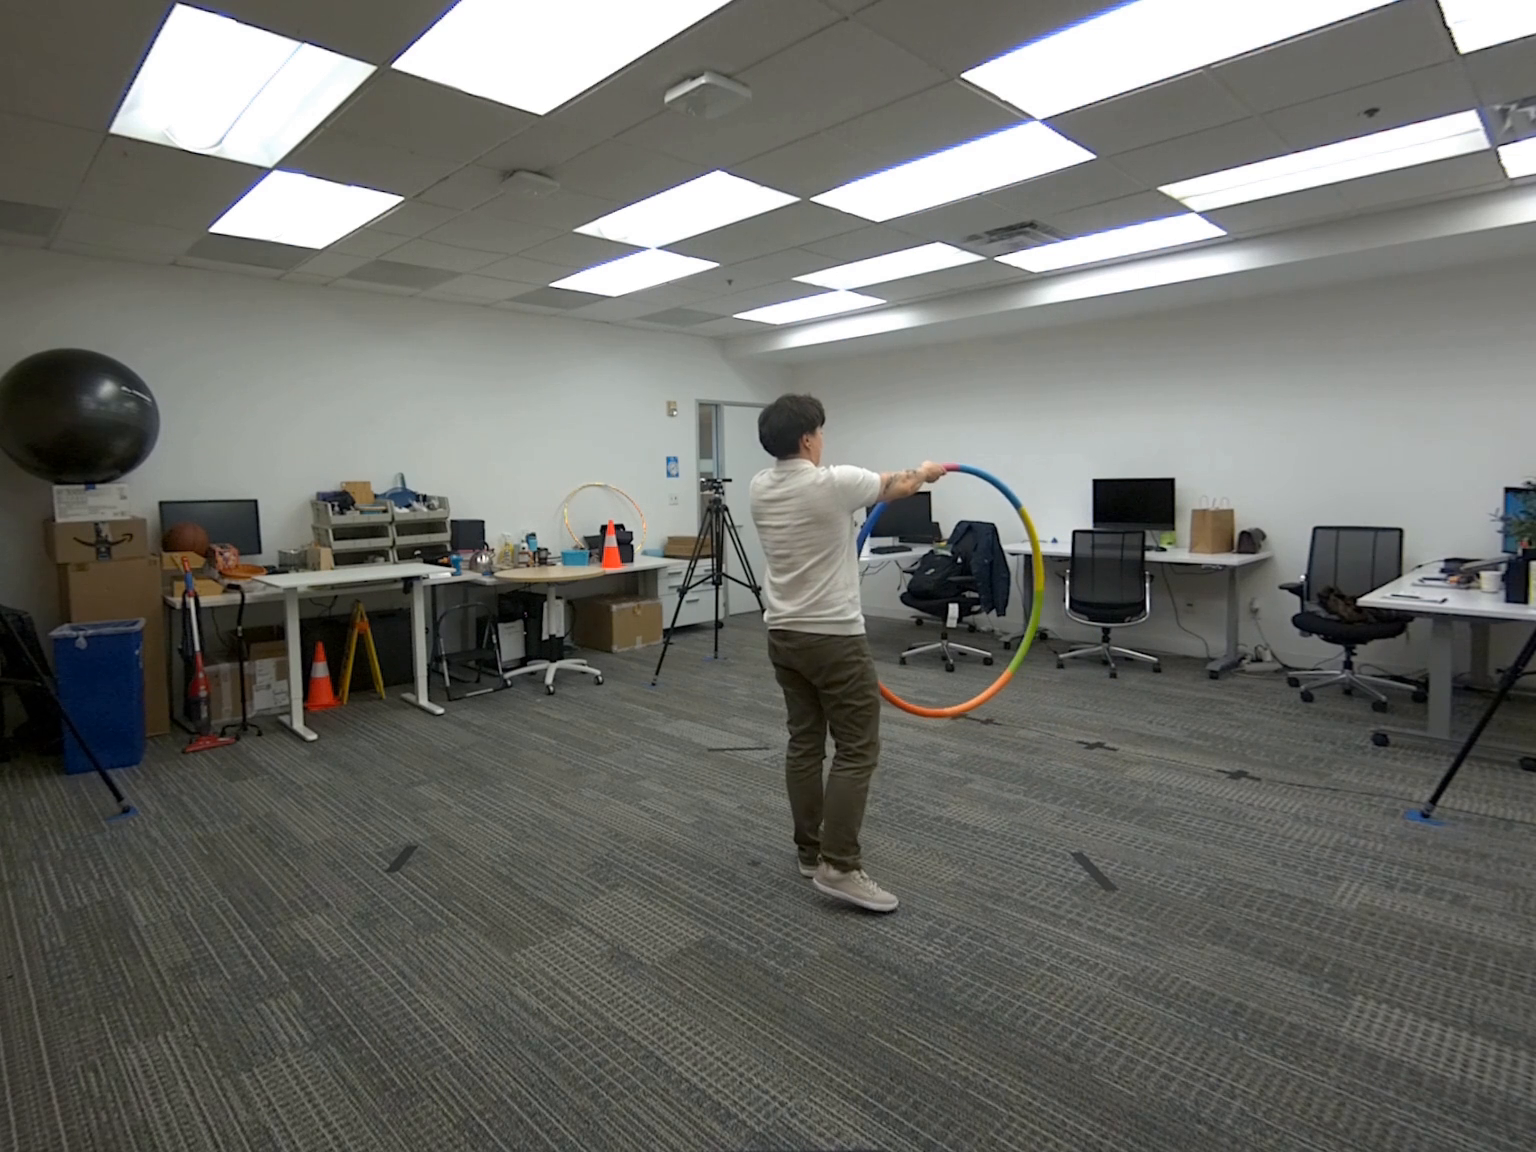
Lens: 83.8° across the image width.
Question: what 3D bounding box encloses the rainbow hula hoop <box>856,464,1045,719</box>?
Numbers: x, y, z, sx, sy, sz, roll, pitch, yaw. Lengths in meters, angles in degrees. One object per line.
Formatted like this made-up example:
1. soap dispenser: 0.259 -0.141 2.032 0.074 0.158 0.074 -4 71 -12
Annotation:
1. rainbow hula hoop: 0.713 0.053 3.335 0.956 0.975 0.036 -3 4 -28
